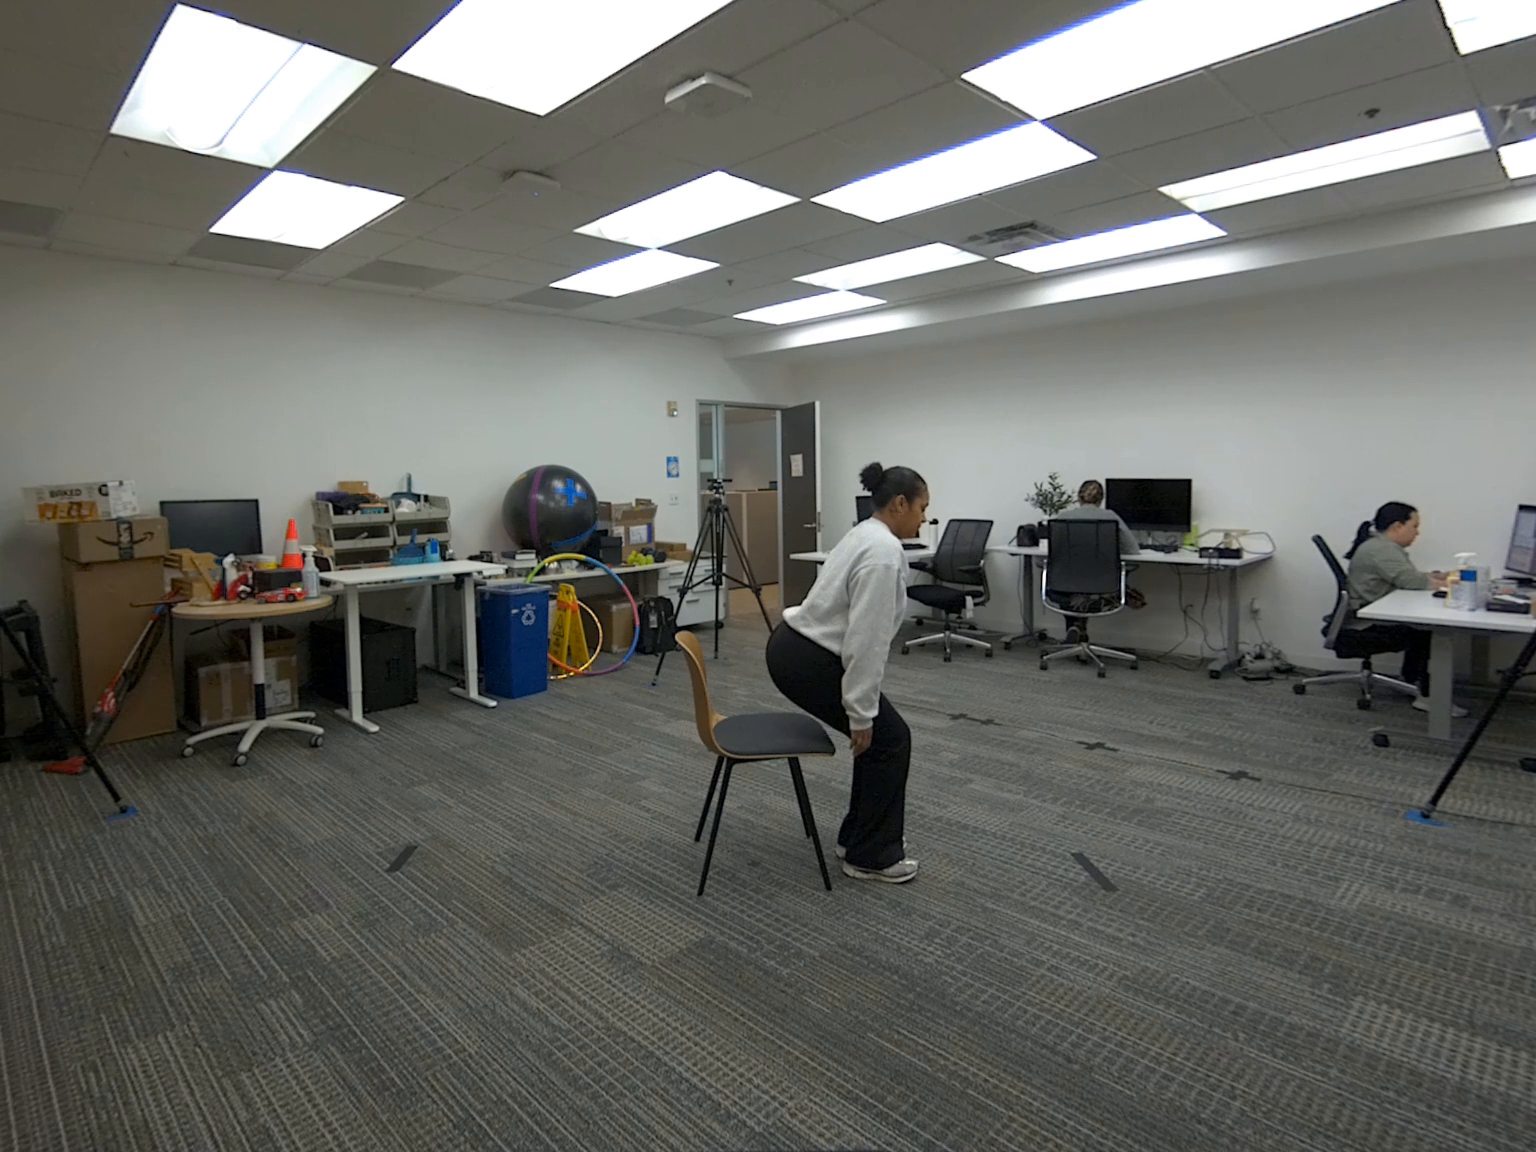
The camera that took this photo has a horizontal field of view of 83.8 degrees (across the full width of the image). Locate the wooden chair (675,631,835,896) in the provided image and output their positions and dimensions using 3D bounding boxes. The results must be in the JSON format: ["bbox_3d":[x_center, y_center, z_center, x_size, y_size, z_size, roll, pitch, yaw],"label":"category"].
[{"bbox_3d":[-0.033,0.618,3.068,0.521,0.874,0.482,-5,4,-5],"label":"wooden chair"}]
